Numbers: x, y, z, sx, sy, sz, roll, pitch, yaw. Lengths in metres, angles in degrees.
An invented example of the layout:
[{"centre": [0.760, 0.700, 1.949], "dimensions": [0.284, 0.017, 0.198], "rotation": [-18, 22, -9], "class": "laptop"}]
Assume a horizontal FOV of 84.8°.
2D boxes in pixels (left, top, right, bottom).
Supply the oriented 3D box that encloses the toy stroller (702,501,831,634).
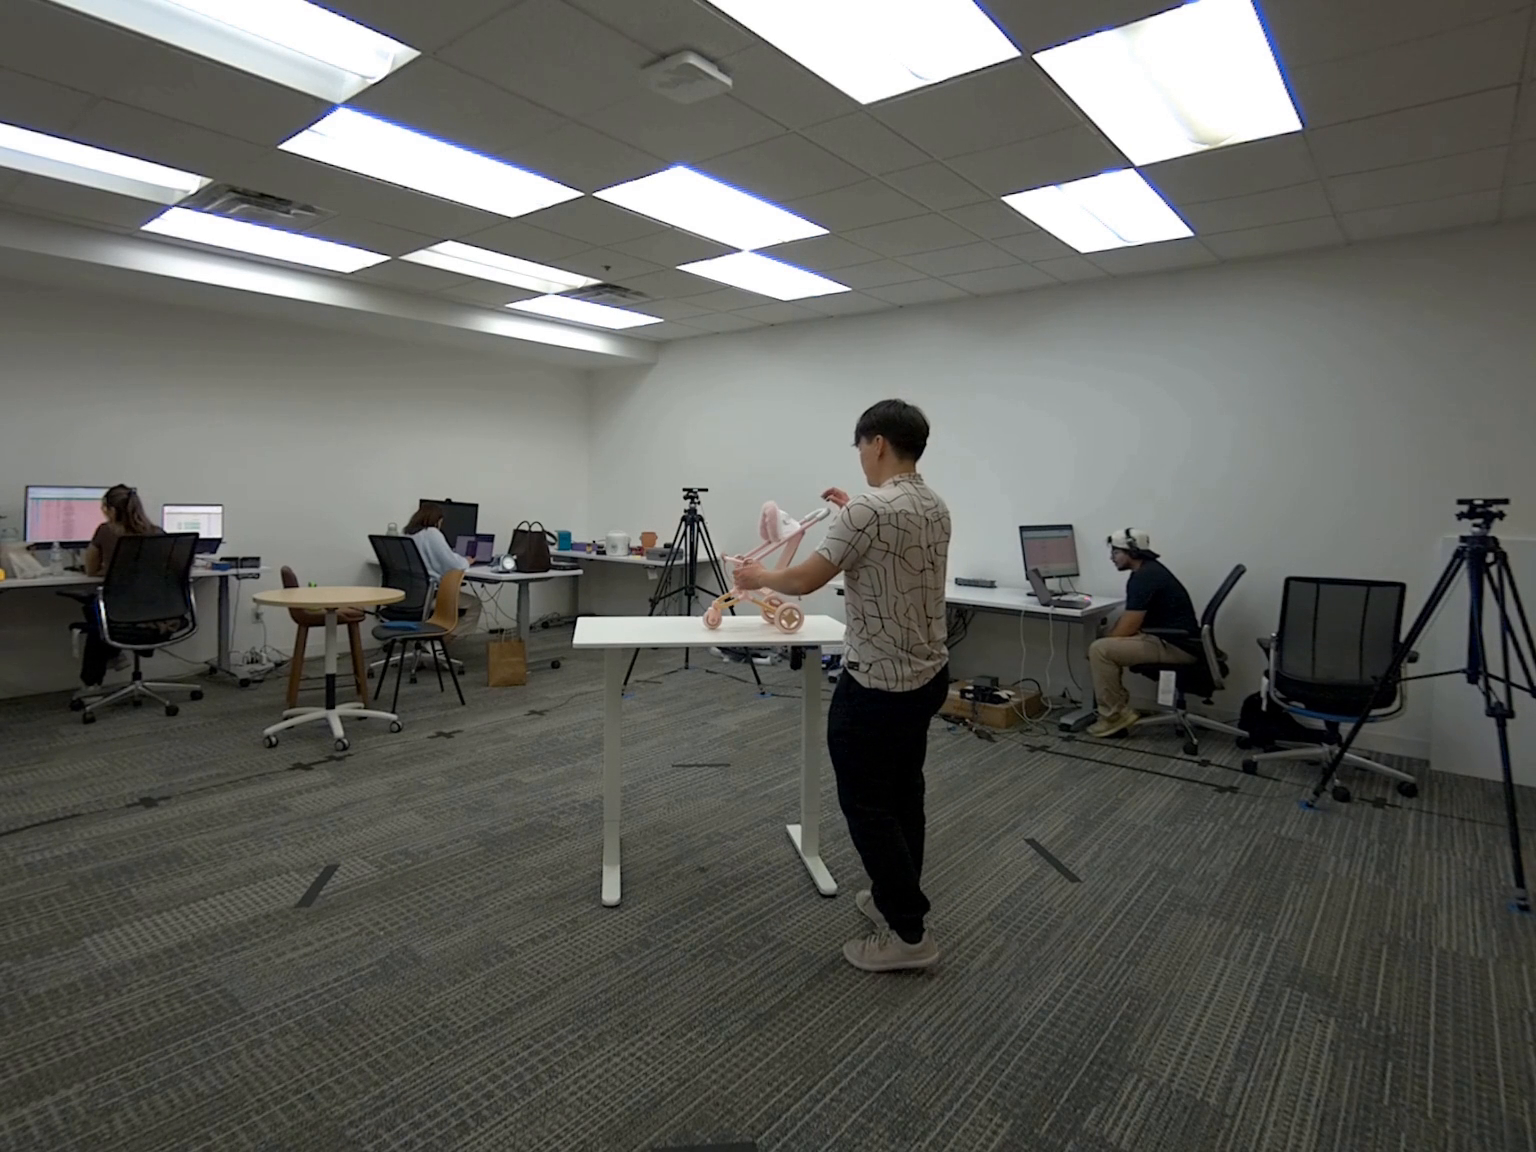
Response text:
[{"centre": [-0.025, -0.034, 3.099], "dimensions": [0.339, 0.535, 0.283], "rotation": [15, 1, -6], "class": "toy stroller"}]
